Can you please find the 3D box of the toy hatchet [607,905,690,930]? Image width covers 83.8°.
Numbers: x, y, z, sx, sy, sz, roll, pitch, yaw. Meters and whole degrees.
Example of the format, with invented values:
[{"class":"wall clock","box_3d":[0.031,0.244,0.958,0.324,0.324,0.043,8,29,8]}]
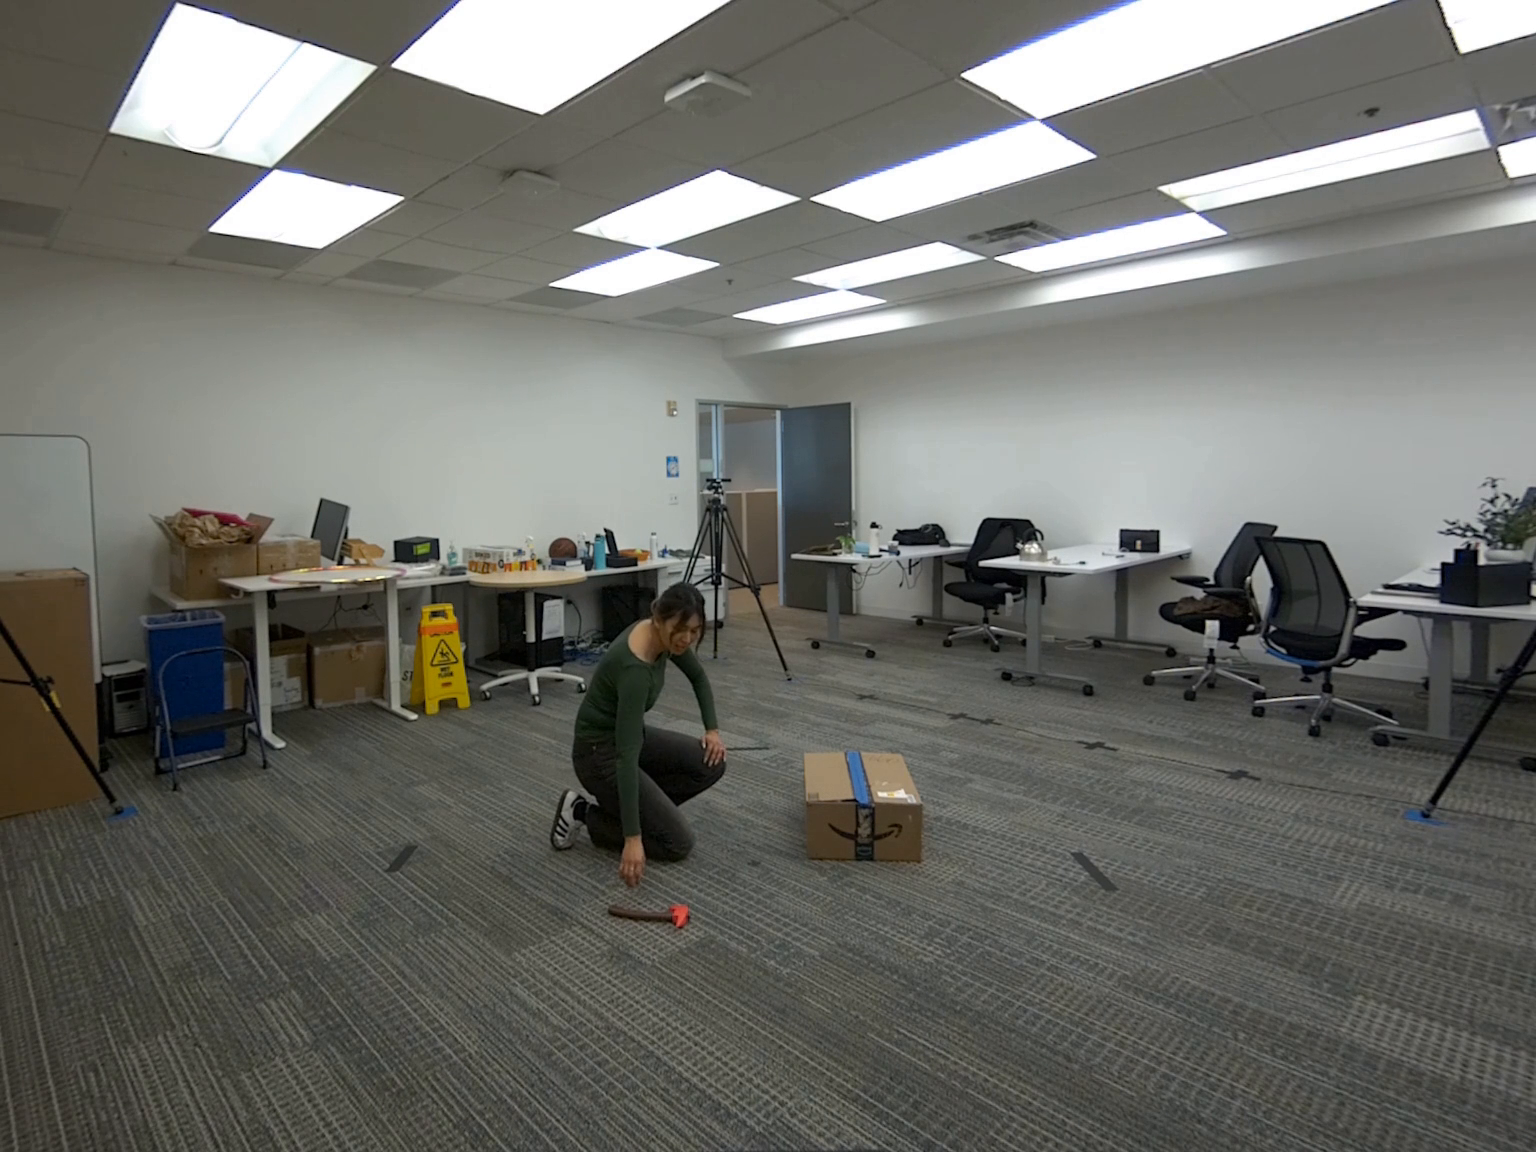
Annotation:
[{"class":"toy hatchet","box_3d":[-0.370,1.083,2.753,0.276,0.029,0.129,1,7,25]}]
